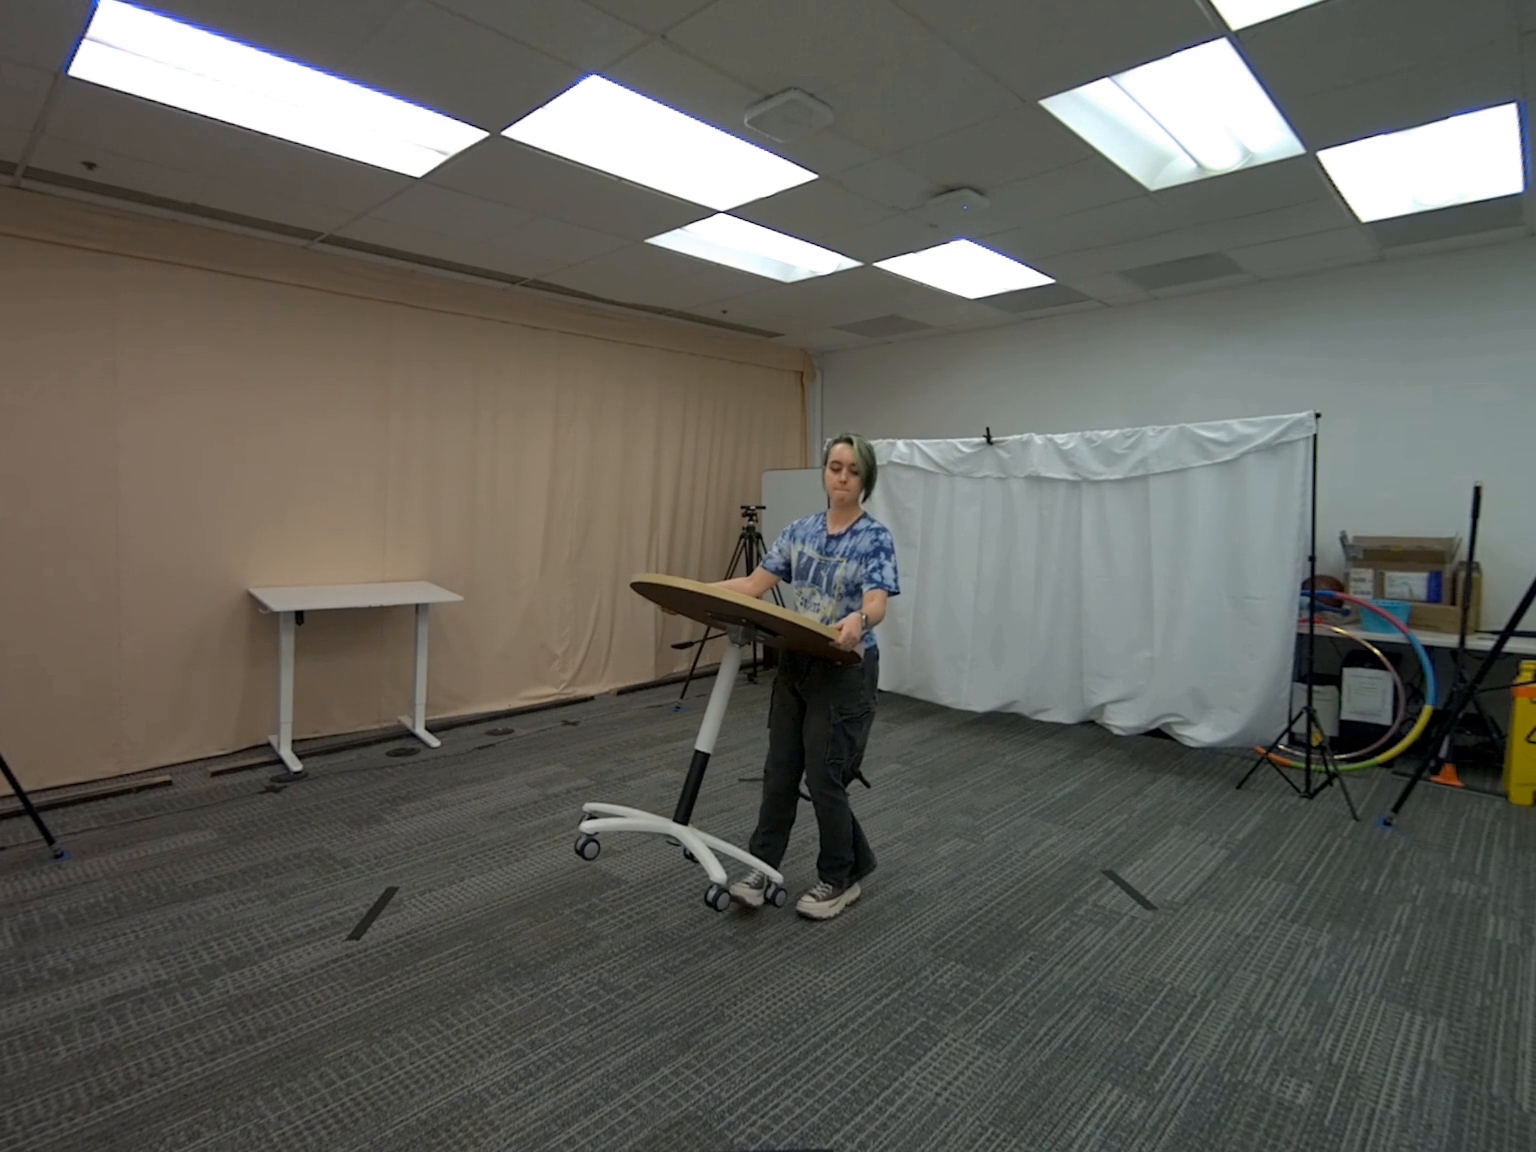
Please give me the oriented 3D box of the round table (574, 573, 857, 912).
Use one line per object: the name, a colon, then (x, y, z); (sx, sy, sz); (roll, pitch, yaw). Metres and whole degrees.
round table: (-0.193, 0.511, 2.581); (0.767, 0.796, 0.759); (17, -11, 2)
